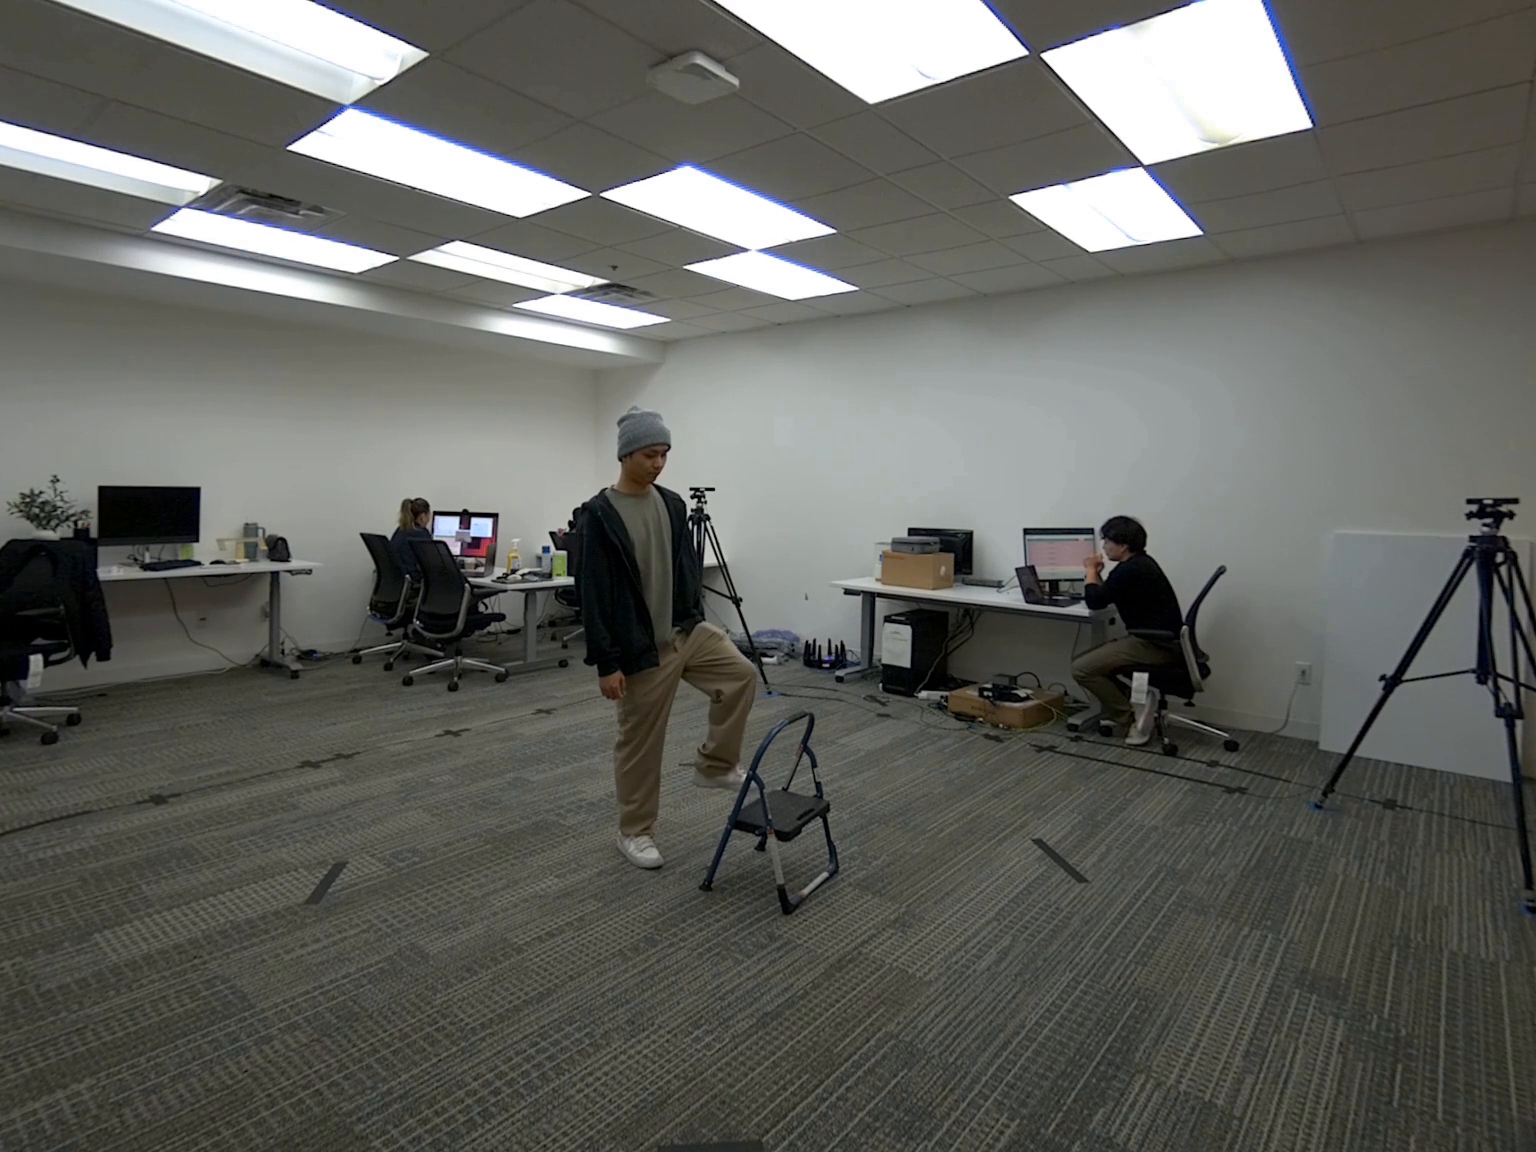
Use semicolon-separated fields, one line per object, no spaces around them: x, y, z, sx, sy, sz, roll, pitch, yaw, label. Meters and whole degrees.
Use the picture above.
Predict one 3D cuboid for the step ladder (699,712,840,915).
0.013;0.776;3.017;0.359;0.604;0.420;3;4;29;step ladder
